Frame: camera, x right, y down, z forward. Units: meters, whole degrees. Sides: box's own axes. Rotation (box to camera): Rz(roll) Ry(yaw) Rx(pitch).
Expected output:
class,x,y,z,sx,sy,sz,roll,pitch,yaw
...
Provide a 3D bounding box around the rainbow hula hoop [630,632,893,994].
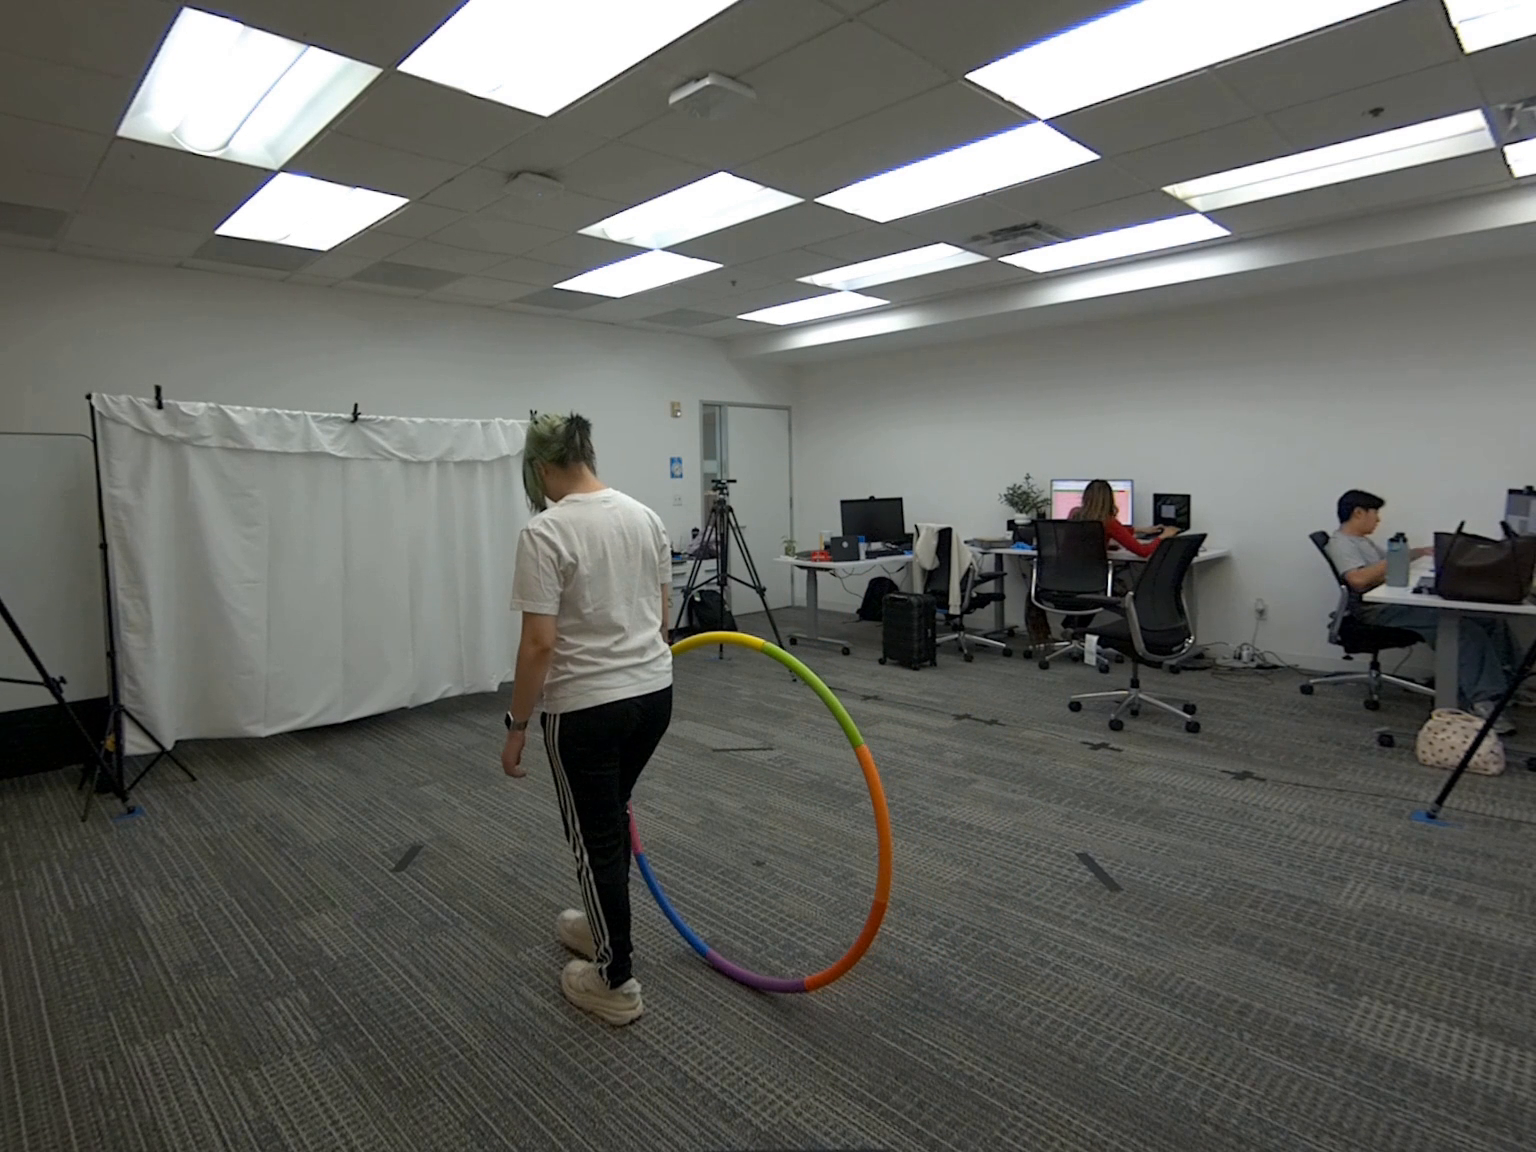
class,x,y,z,sx,sy,sz,roll,pitch,yaw
rainbow hula hoop,-0.088,0.645,2.386,1.008,0.976,0.034,3,4,42
